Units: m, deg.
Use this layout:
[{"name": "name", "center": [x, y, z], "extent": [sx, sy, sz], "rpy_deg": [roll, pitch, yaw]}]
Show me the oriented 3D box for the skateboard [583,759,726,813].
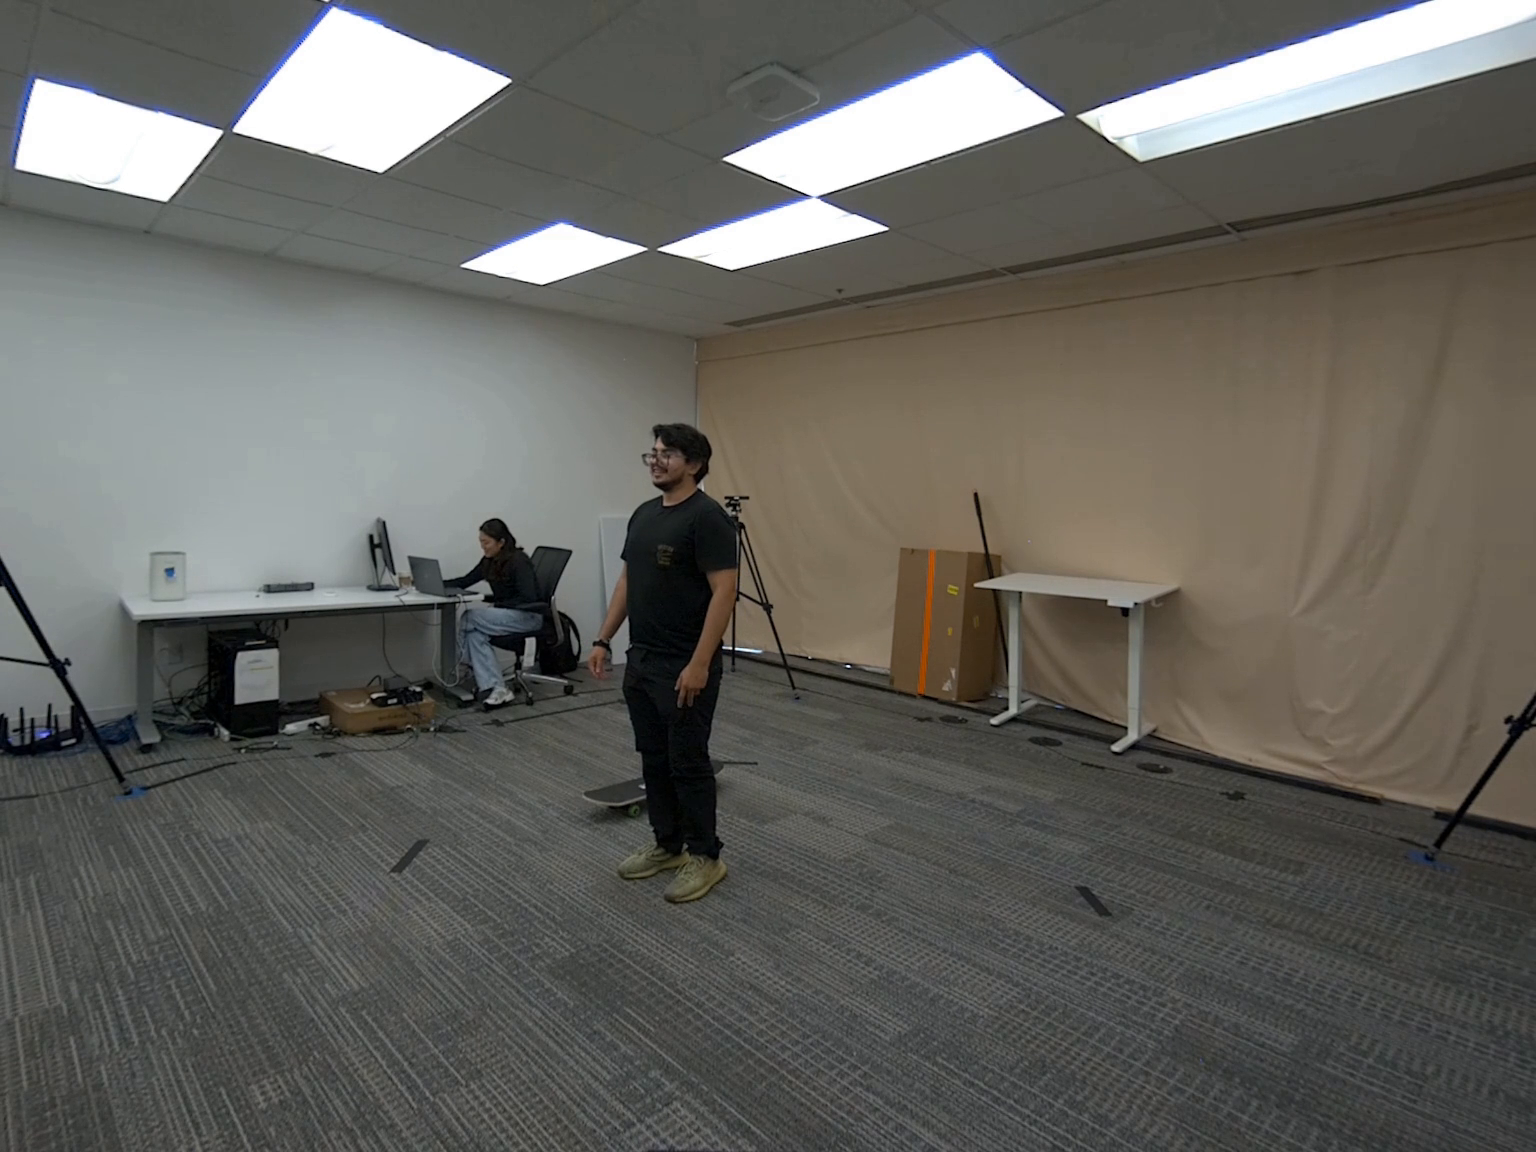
[{"name": "skateboard", "center": [-0.517, 0.976, 3.849], "extent": [0.198, 0.110, 0.767], "rpy_deg": [8, 8, 42]}]
